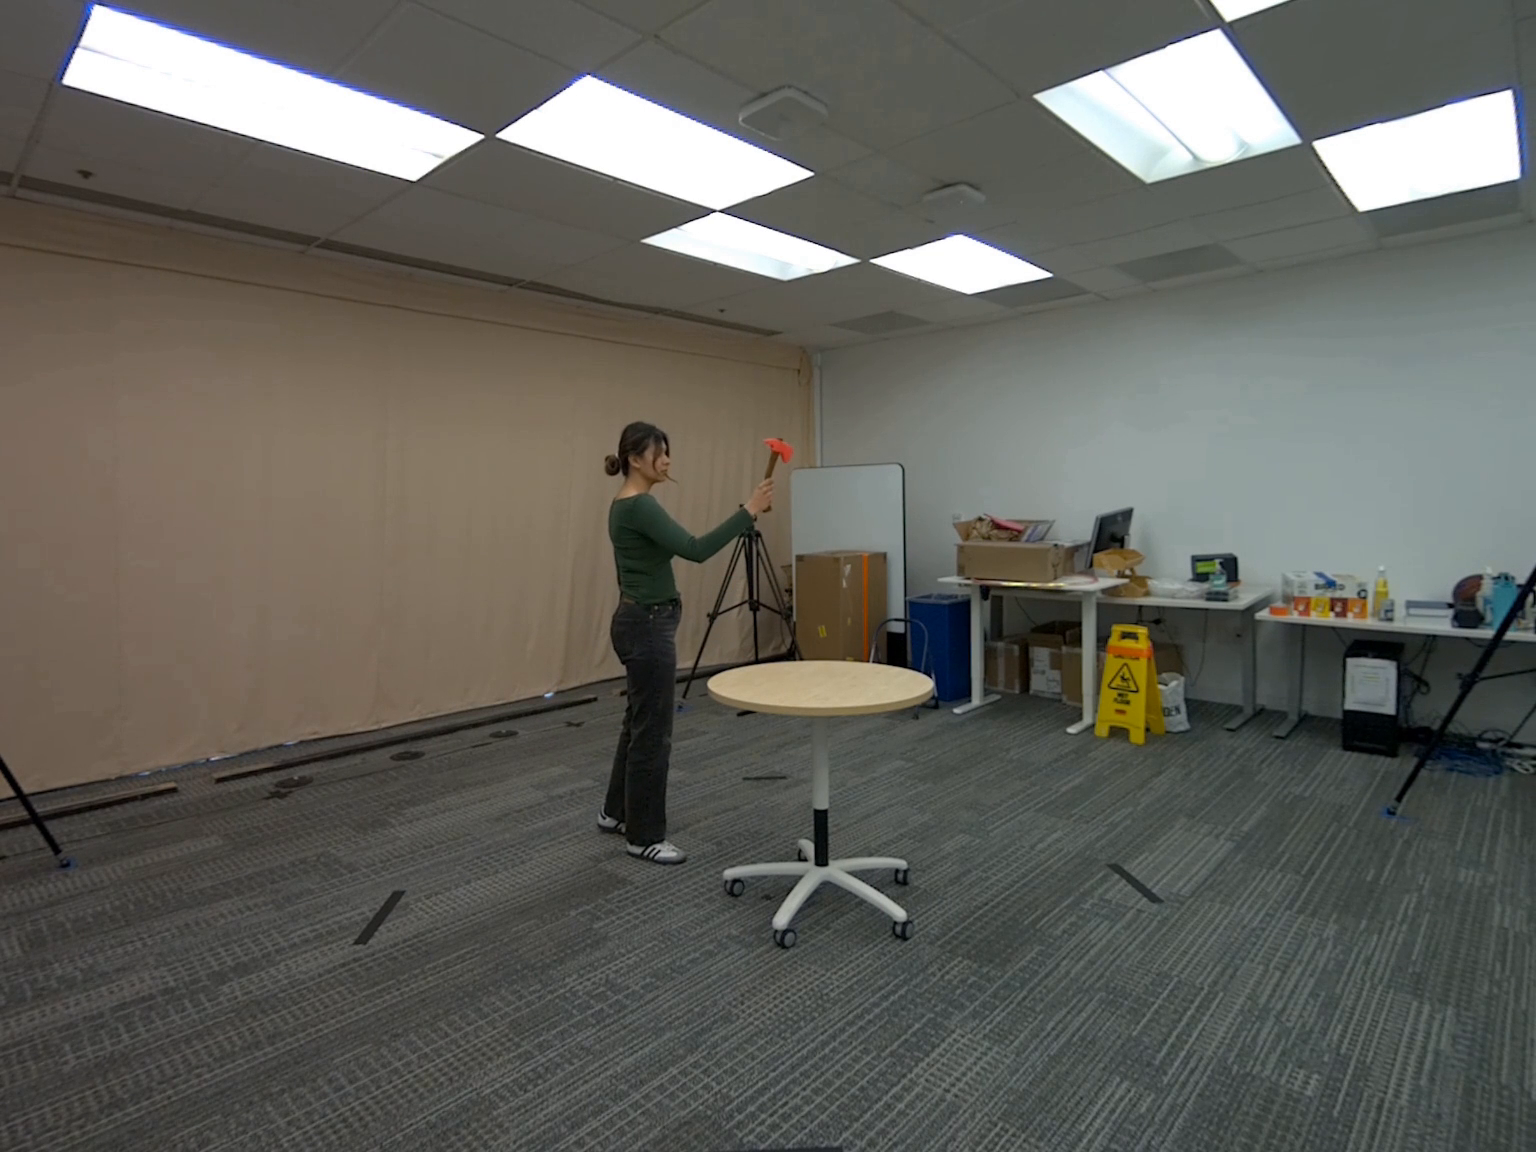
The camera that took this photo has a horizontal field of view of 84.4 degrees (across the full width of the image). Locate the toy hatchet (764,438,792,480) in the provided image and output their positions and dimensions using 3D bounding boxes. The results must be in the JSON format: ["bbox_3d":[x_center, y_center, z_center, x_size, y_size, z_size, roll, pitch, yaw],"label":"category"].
[{"bbox_3d":[0.031,-0.367,3.061,0.127,0.268,0.030,-4,14,-30],"label":"toy hatchet"}]
